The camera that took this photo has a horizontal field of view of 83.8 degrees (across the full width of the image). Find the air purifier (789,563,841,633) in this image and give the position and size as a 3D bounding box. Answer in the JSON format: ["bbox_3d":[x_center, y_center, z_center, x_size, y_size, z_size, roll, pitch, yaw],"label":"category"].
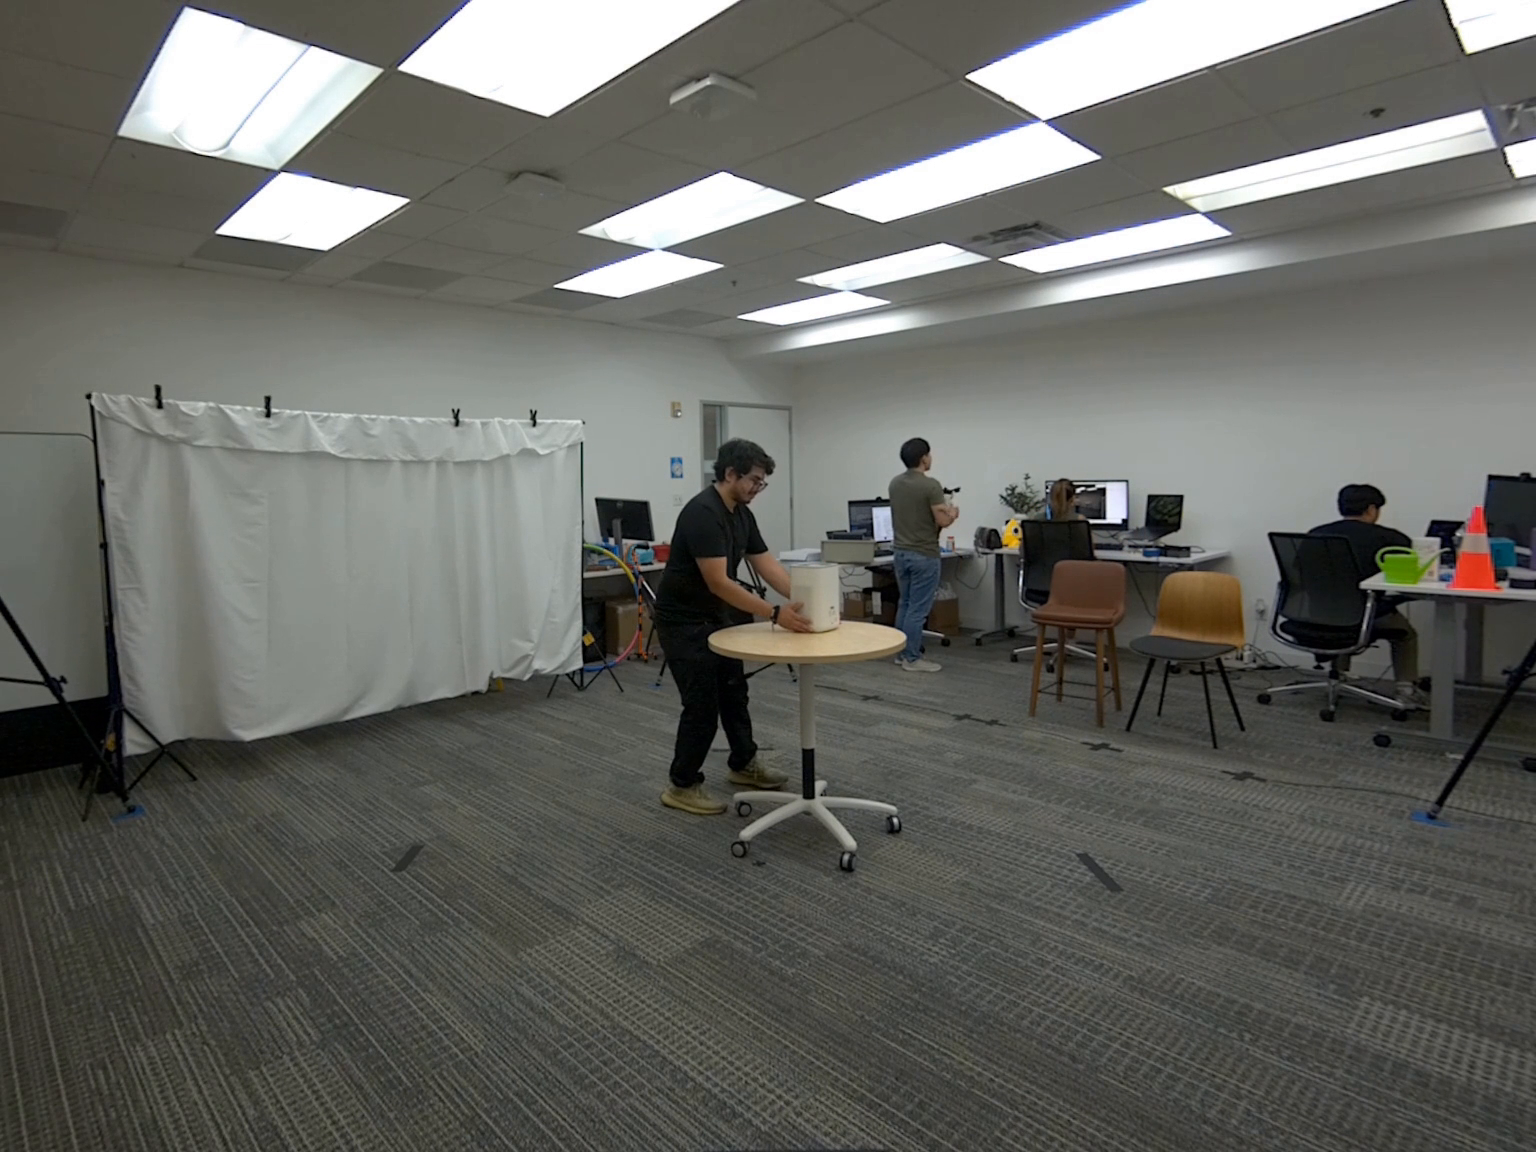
[{"bbox_3d":[0.191,0.083,3.469,0.177,0.264,0.167,3,6,40],"label":"air purifier"}]
